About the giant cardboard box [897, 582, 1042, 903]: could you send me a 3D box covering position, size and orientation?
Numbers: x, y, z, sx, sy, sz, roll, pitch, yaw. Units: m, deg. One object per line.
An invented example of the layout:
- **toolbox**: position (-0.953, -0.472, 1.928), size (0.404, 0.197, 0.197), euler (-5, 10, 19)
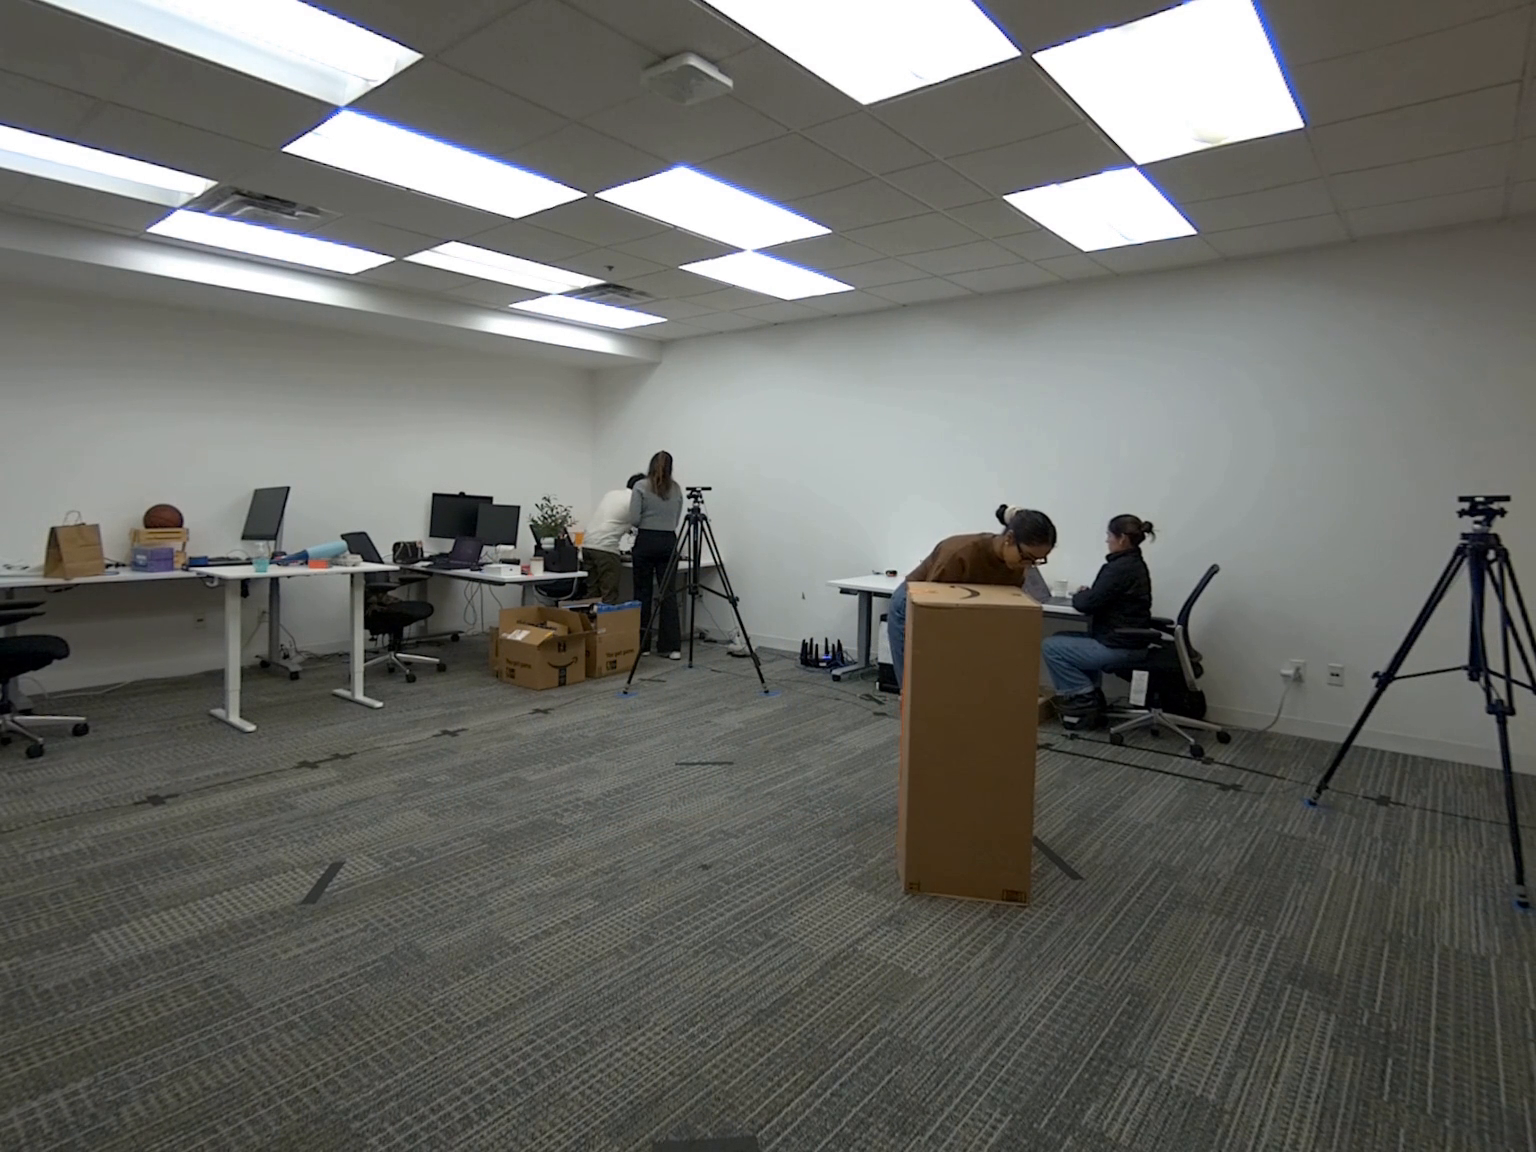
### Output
- **giant cardboard box**: position (0.710, 0.571, 3.152), size (0.430, 1.021, 0.574), euler (2, 5, 8)
